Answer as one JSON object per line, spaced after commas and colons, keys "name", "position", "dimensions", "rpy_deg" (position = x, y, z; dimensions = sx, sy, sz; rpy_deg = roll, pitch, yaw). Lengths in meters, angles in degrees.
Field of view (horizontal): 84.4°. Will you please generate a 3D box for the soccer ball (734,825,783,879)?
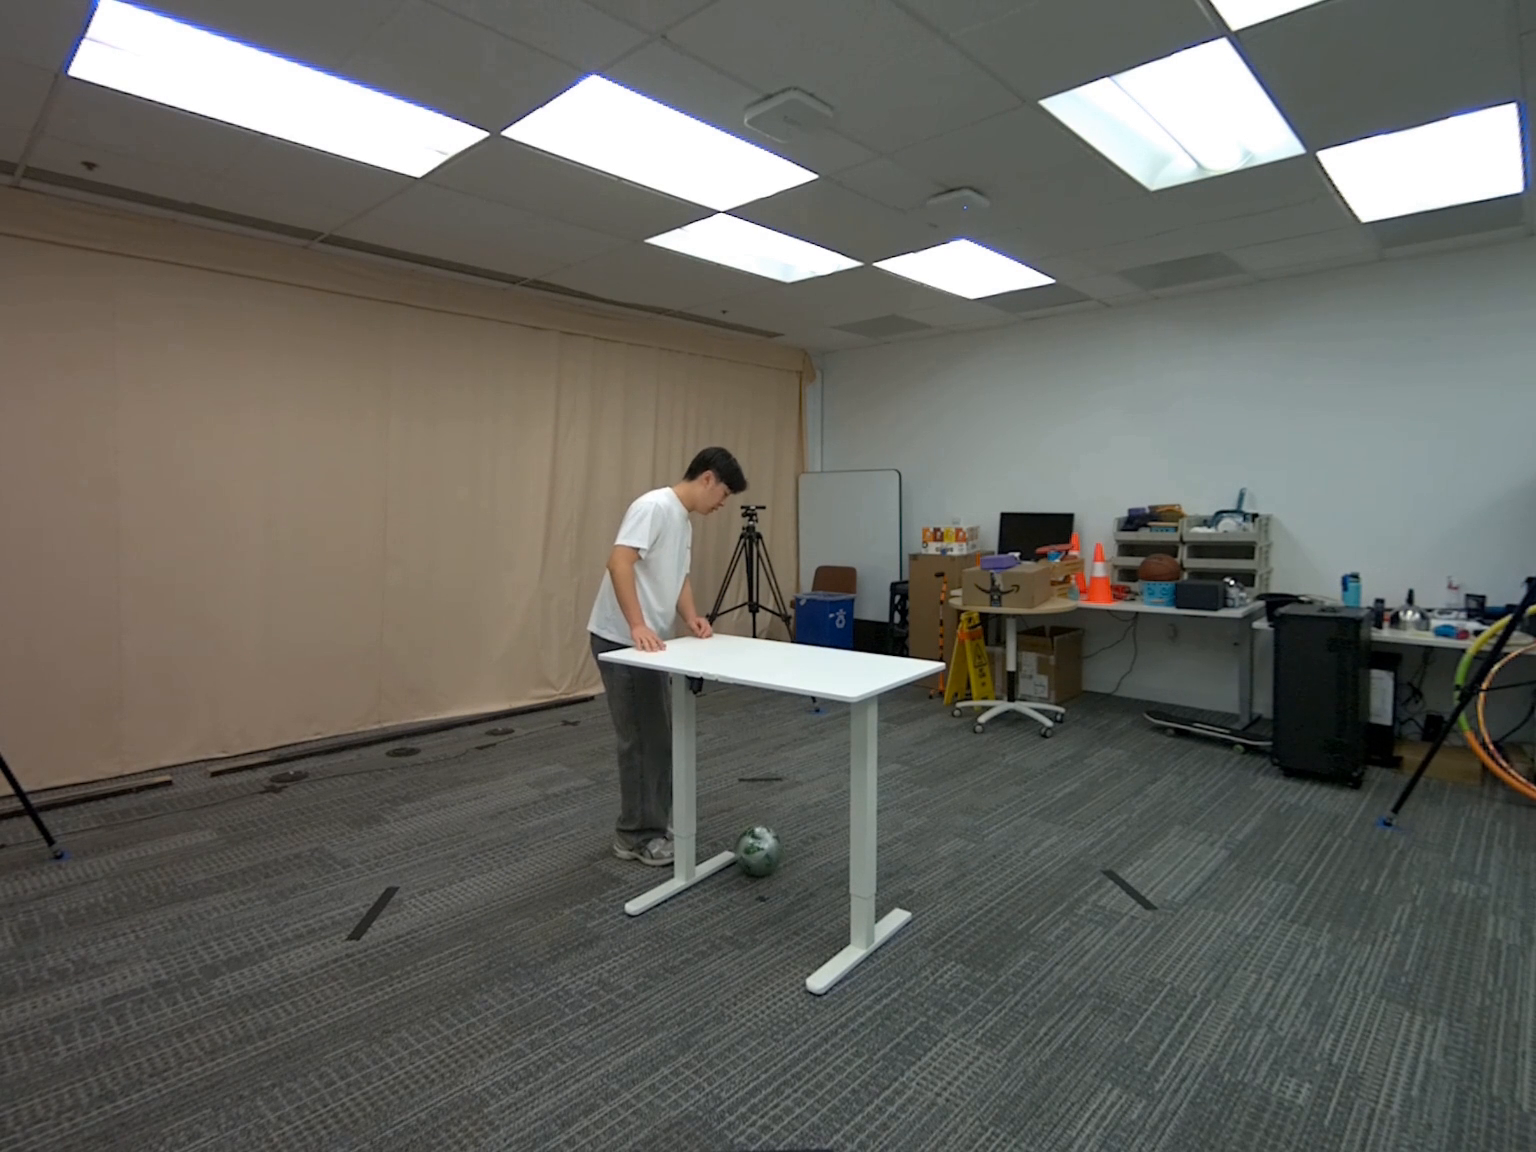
{"name": "soccer ball", "position": [-0.027, 1.036, 3.178], "dimensions": [0.187, 0.187, 0.188], "rpy_deg": [0, 4, -2]}
